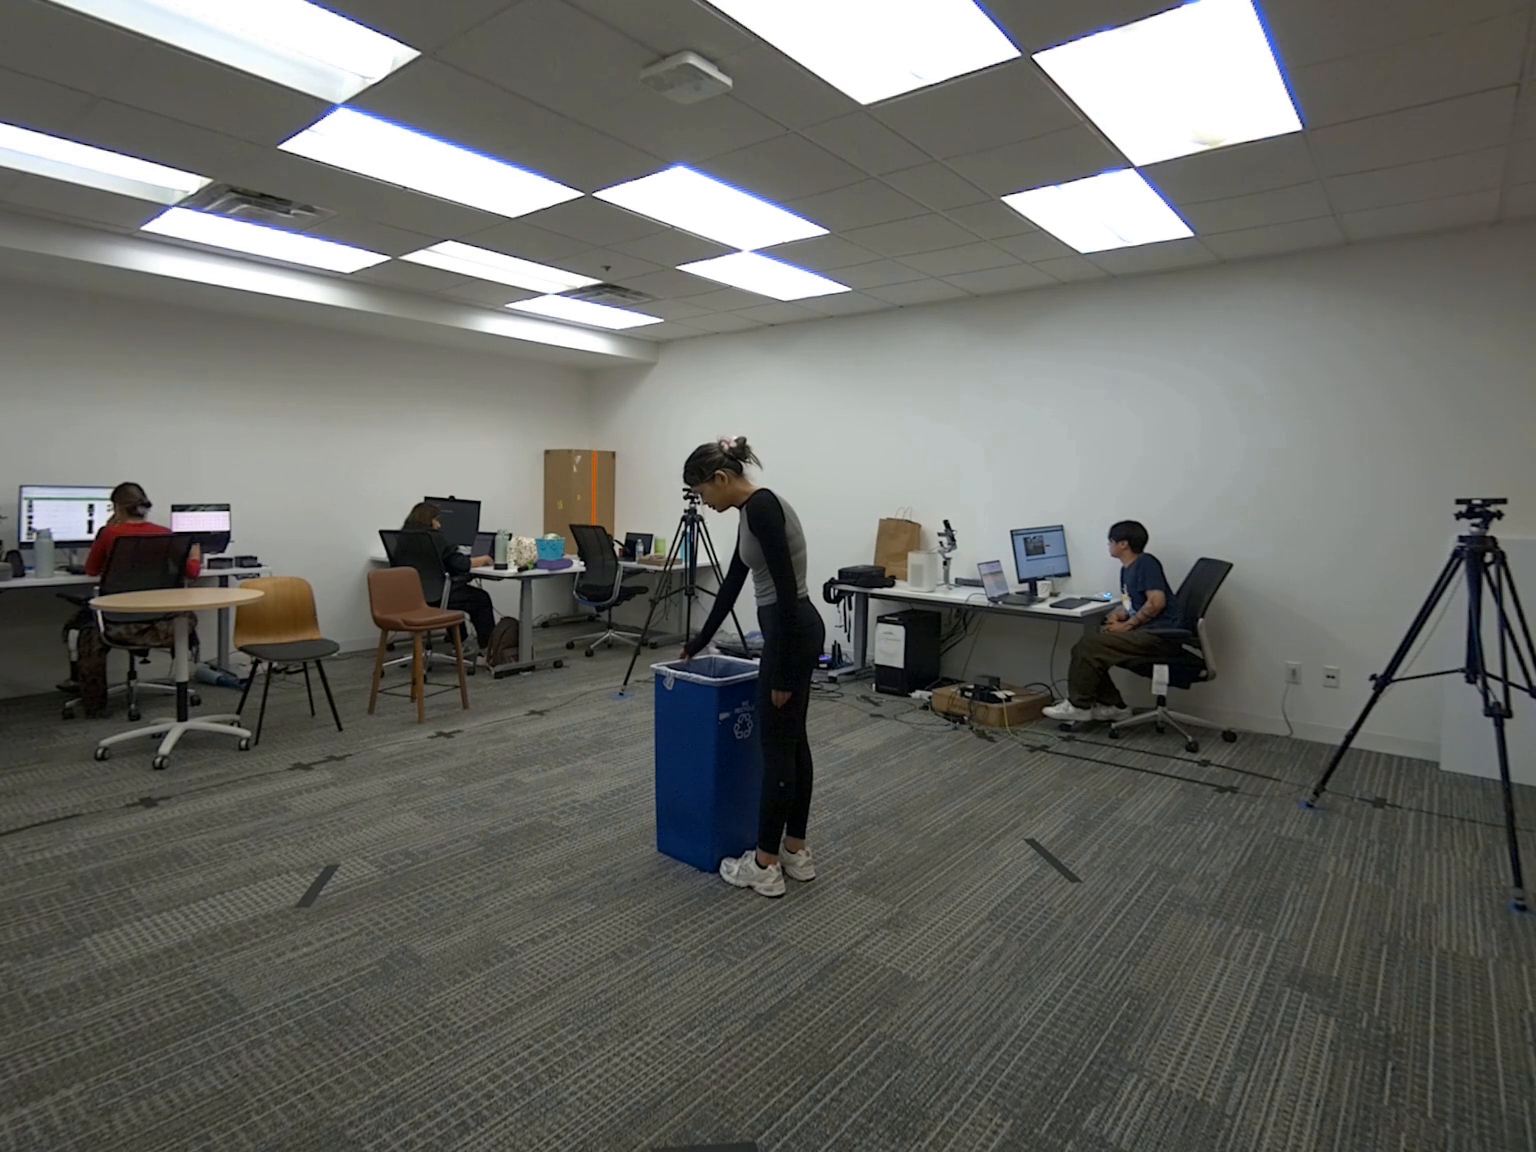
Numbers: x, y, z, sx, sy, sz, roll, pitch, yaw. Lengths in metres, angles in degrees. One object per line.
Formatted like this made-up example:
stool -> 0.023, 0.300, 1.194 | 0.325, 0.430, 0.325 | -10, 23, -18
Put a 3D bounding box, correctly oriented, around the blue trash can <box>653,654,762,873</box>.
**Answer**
blue trash can -> -0.223, 0.696, 3.269 | 0.391, 0.711, 0.363 | 4, 4, 40
